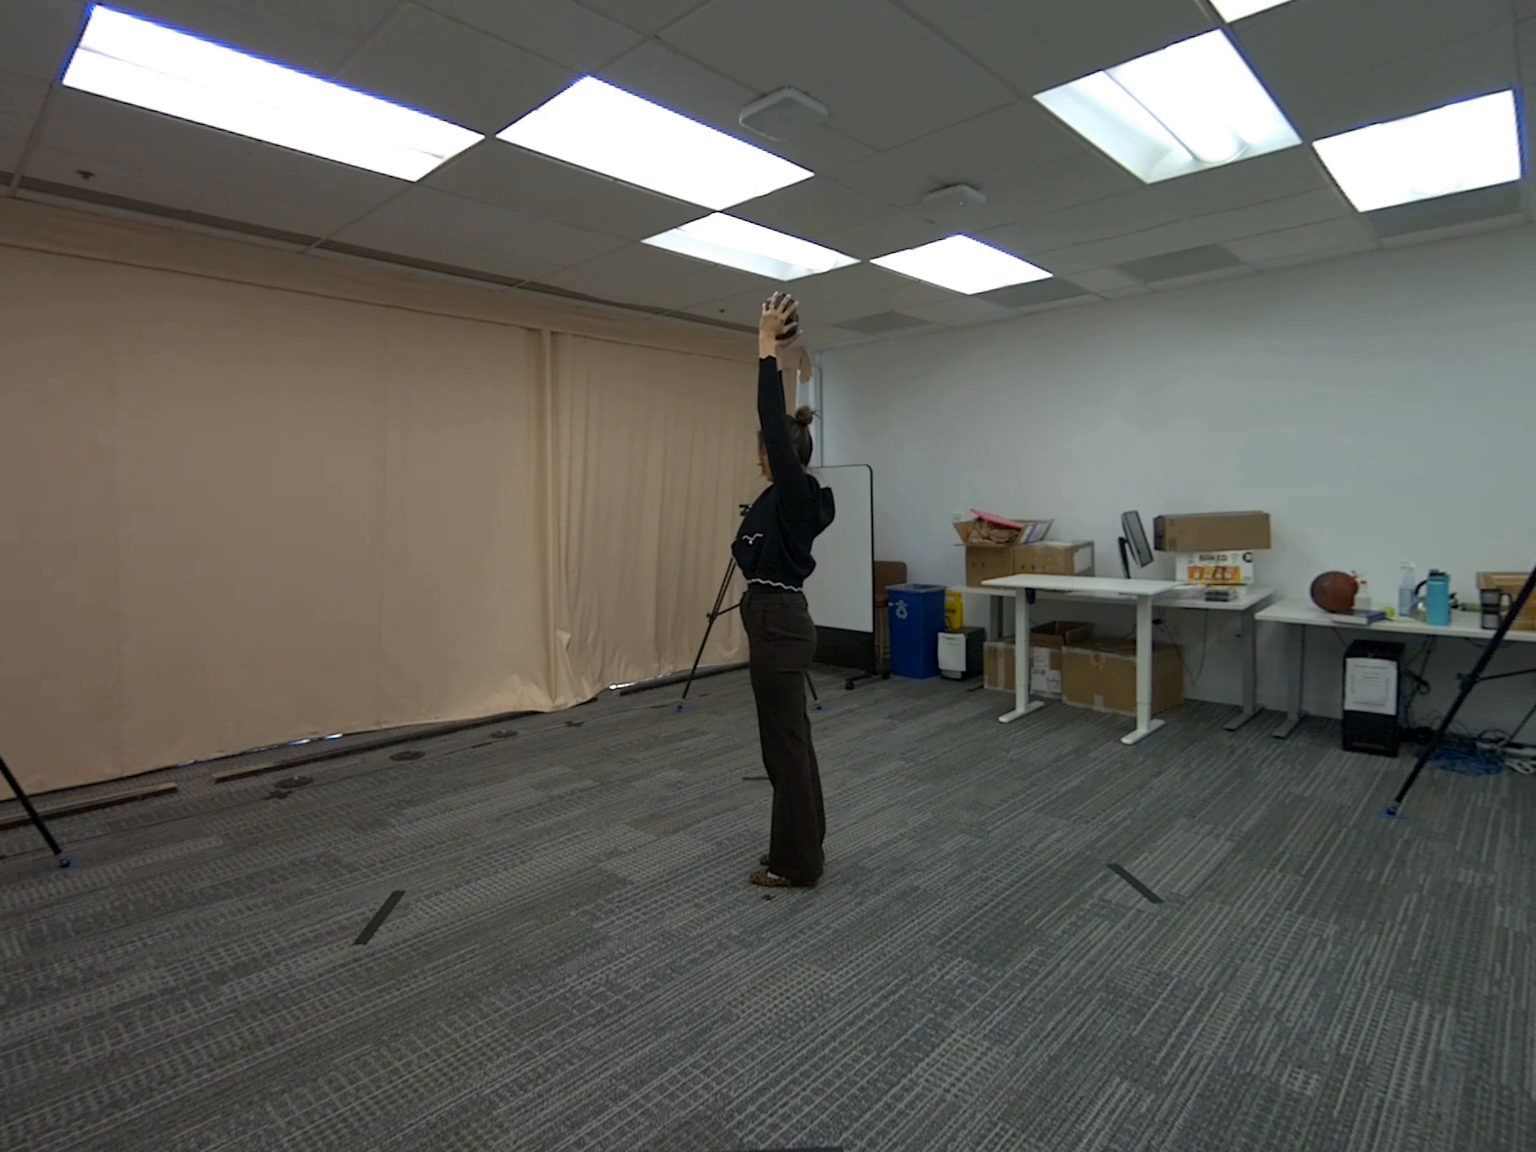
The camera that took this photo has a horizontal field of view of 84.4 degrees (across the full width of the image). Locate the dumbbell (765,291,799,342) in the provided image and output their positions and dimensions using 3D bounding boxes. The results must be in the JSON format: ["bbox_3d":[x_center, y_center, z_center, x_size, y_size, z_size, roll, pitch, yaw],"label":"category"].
[{"bbox_3d":[0.044,-0.946,3.104,0.123,0.108,0.292,-22,3,5],"label":"dumbbell"}]
